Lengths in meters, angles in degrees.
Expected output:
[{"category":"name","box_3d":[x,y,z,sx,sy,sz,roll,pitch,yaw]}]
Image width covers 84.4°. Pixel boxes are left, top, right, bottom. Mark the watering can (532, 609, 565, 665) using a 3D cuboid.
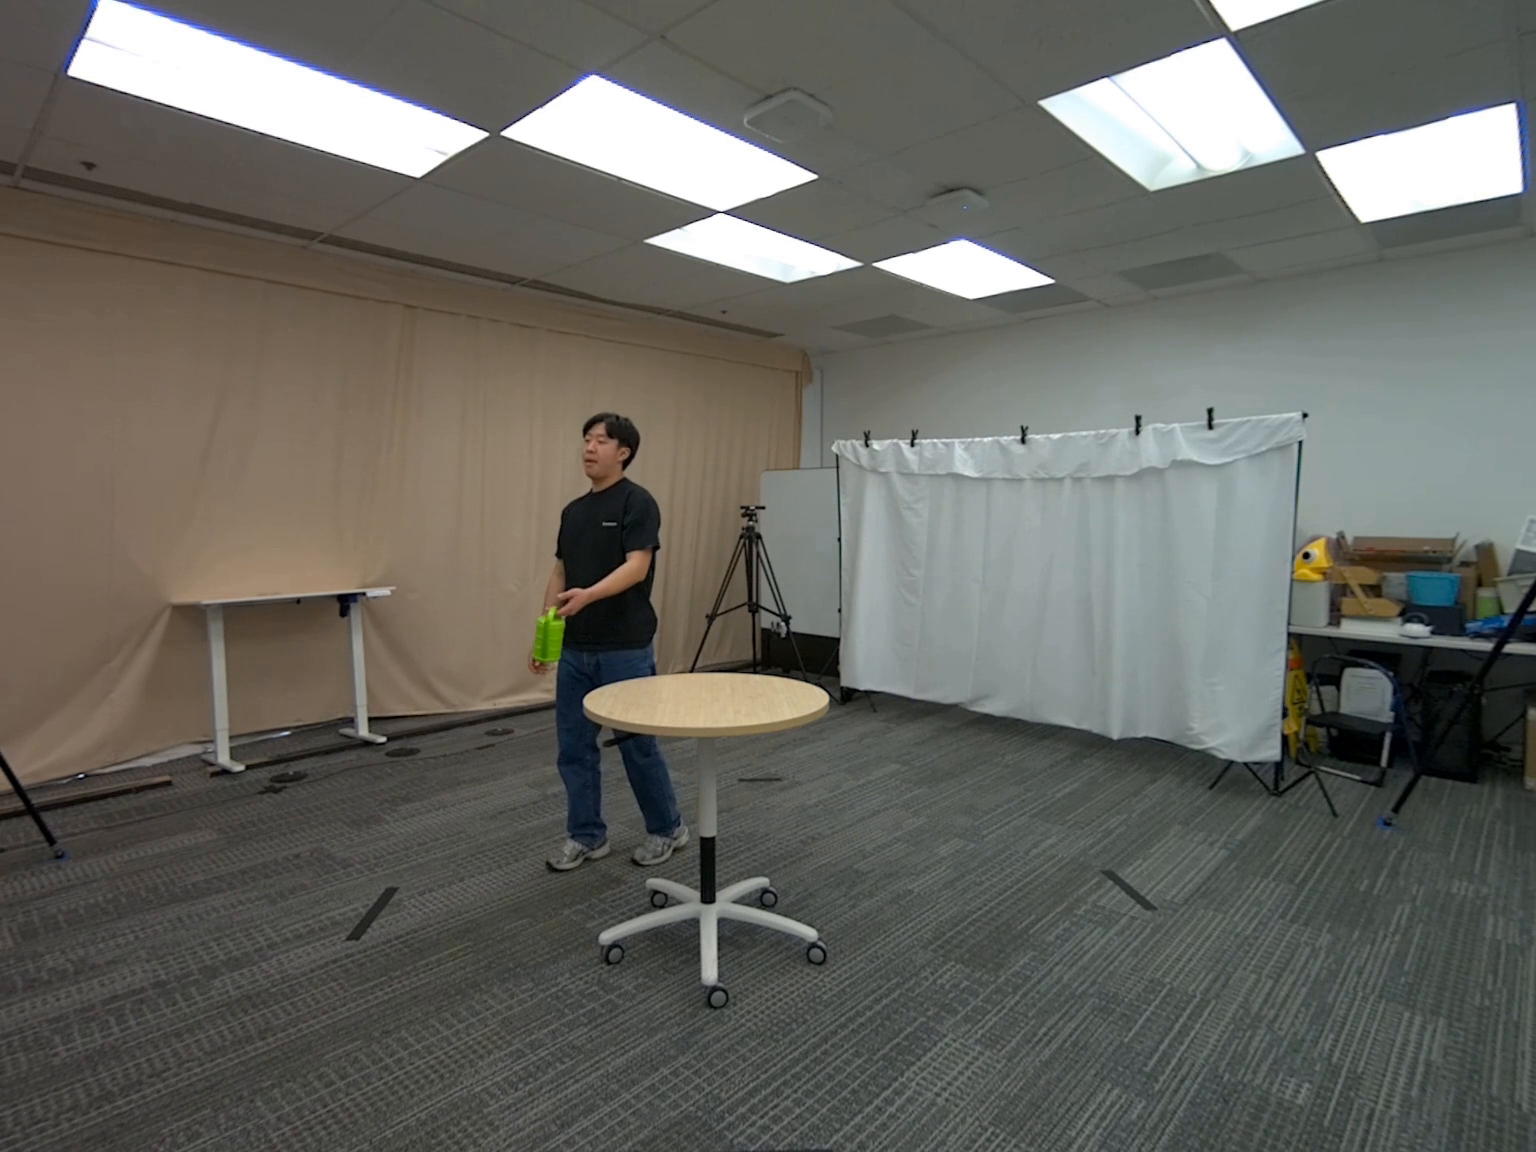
[{"category":"watering can","box_3d":[-0.732,0.195,2.797,0.099,0.176,0.275,8,7,11]}]
